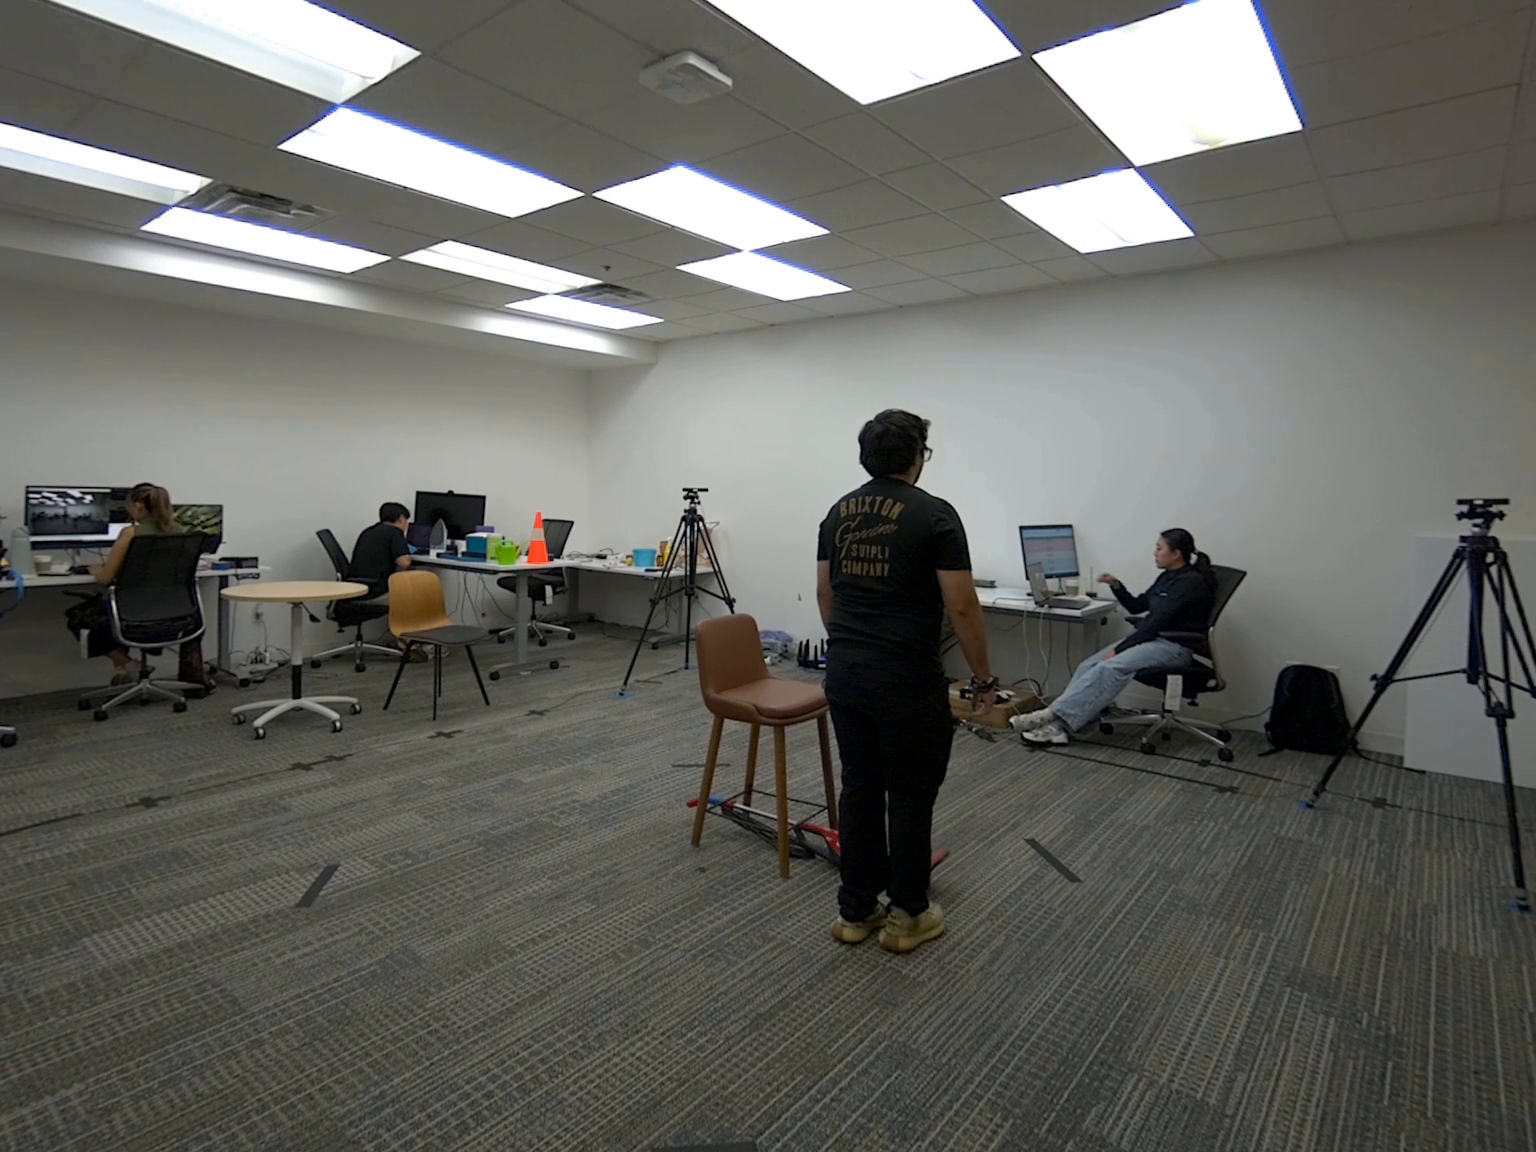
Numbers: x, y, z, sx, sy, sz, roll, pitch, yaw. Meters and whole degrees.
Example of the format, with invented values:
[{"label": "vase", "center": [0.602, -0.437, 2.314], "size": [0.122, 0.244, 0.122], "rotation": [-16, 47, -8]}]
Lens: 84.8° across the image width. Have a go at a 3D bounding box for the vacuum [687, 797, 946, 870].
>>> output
[{"label": "vacuum", "center": [0.107, 1.003, 3.280], "size": [1.083, 0.143, 0.245], "rotation": [5, 6, 35]}]
